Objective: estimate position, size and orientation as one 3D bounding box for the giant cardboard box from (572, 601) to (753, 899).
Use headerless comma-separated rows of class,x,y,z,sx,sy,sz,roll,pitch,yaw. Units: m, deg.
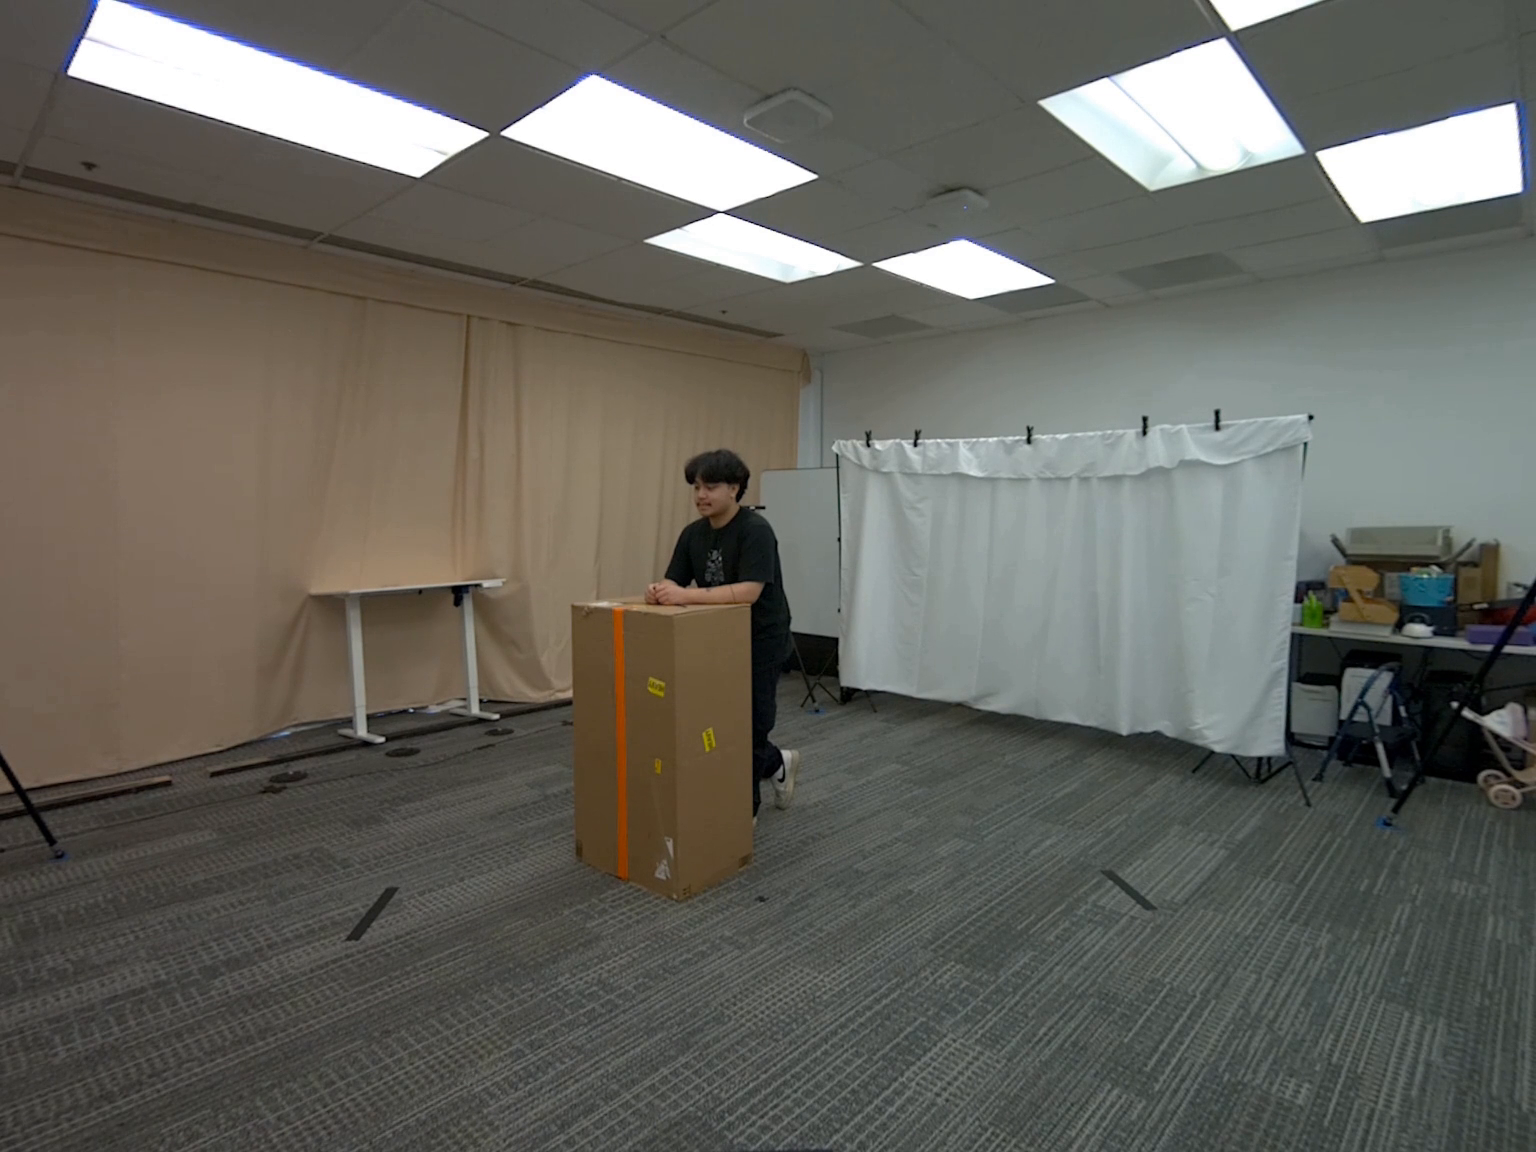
giant cardboard box,-0.419,0.613,3.283,0.603,1.025,0.433,2,4,41
